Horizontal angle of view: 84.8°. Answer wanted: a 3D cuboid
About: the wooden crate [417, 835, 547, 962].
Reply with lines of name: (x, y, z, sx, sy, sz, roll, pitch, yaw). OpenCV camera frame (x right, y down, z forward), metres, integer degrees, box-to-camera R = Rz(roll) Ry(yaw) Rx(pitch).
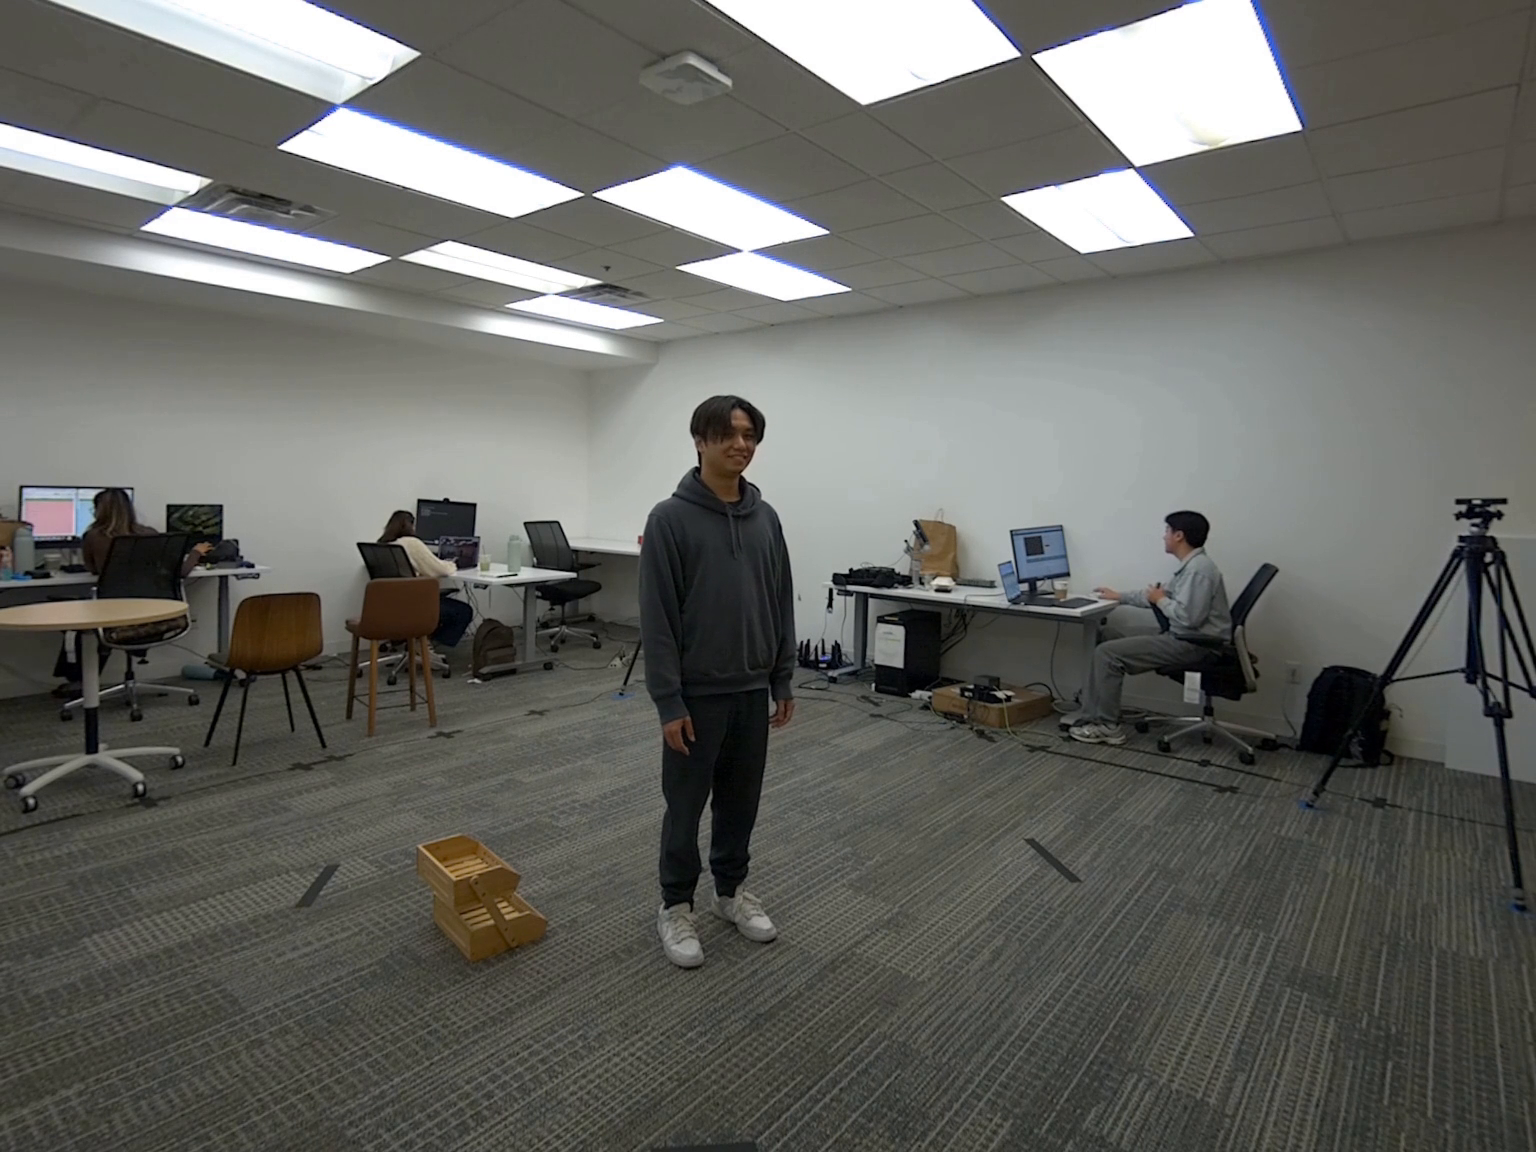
wooden crate: (-0.895, 0.967, 2.646, 0.293, 0.272, 0.335, -3, 6, -42)
